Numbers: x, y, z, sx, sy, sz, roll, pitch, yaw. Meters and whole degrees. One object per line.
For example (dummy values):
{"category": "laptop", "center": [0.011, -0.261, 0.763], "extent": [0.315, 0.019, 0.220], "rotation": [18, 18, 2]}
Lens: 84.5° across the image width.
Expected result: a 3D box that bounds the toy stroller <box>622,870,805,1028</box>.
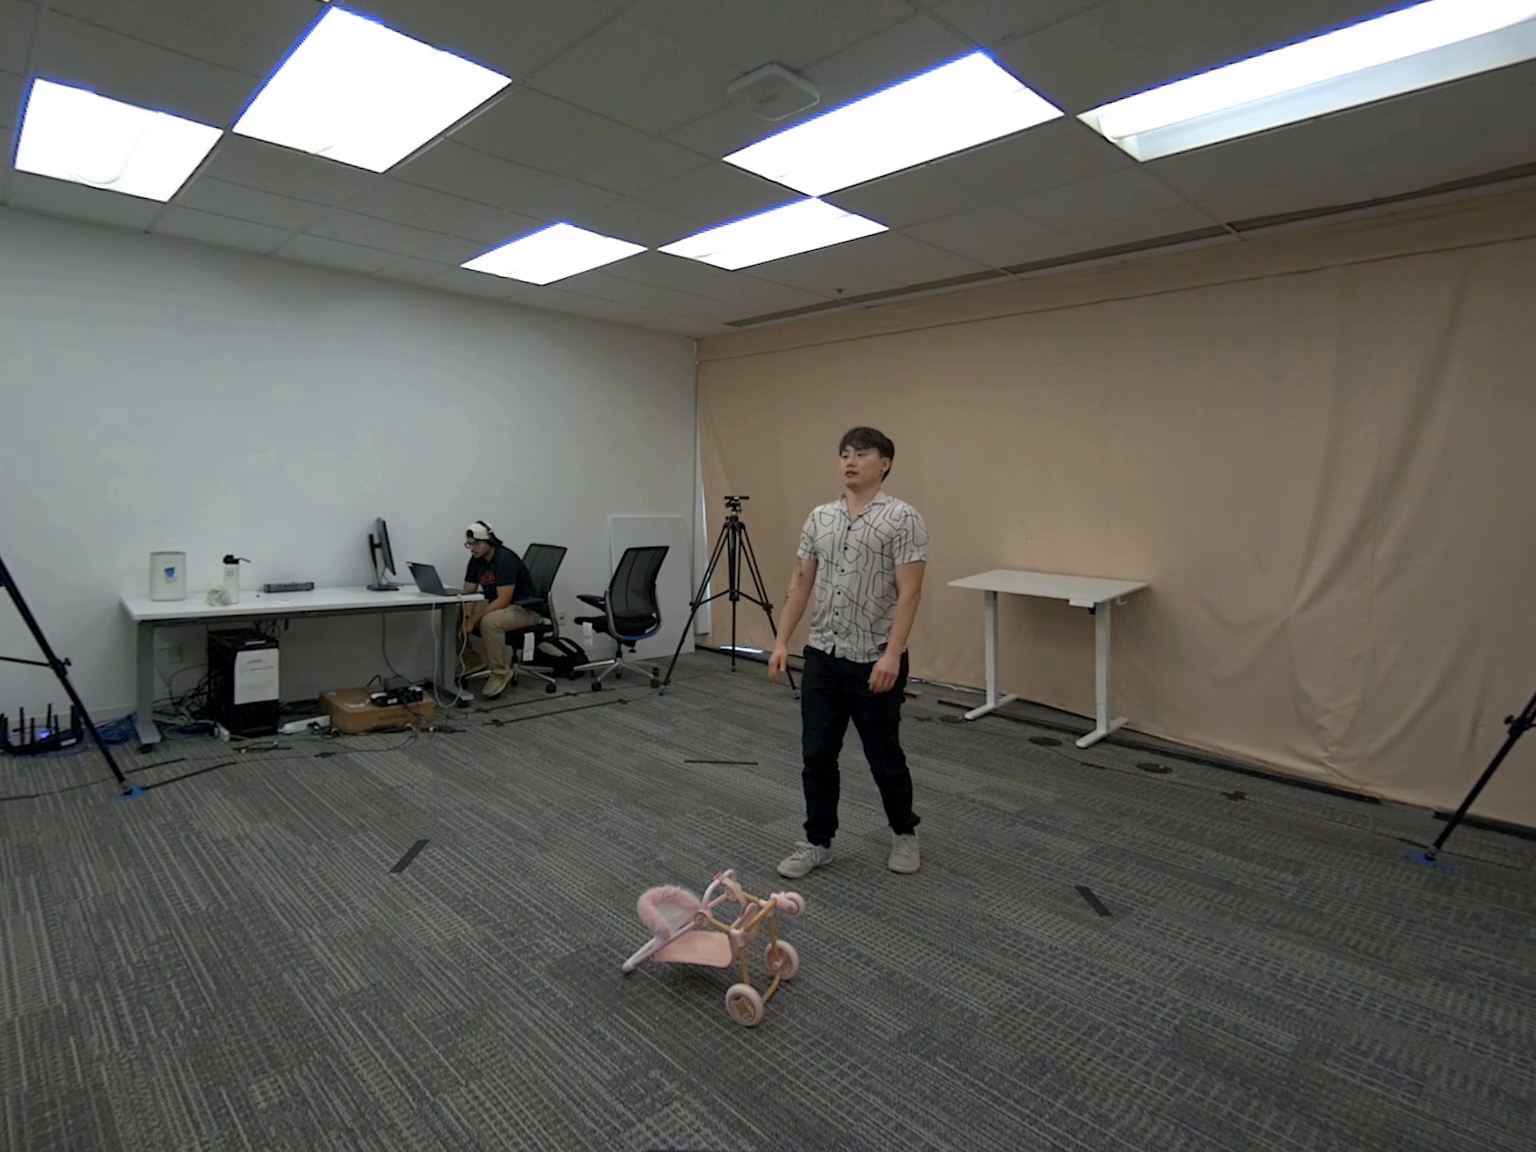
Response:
{"category": "toy stroller", "center": [-0.151, 1.010, 2.381], "extent": [0.546, 0.339, 0.277], "rotation": [5, 9, 26]}
